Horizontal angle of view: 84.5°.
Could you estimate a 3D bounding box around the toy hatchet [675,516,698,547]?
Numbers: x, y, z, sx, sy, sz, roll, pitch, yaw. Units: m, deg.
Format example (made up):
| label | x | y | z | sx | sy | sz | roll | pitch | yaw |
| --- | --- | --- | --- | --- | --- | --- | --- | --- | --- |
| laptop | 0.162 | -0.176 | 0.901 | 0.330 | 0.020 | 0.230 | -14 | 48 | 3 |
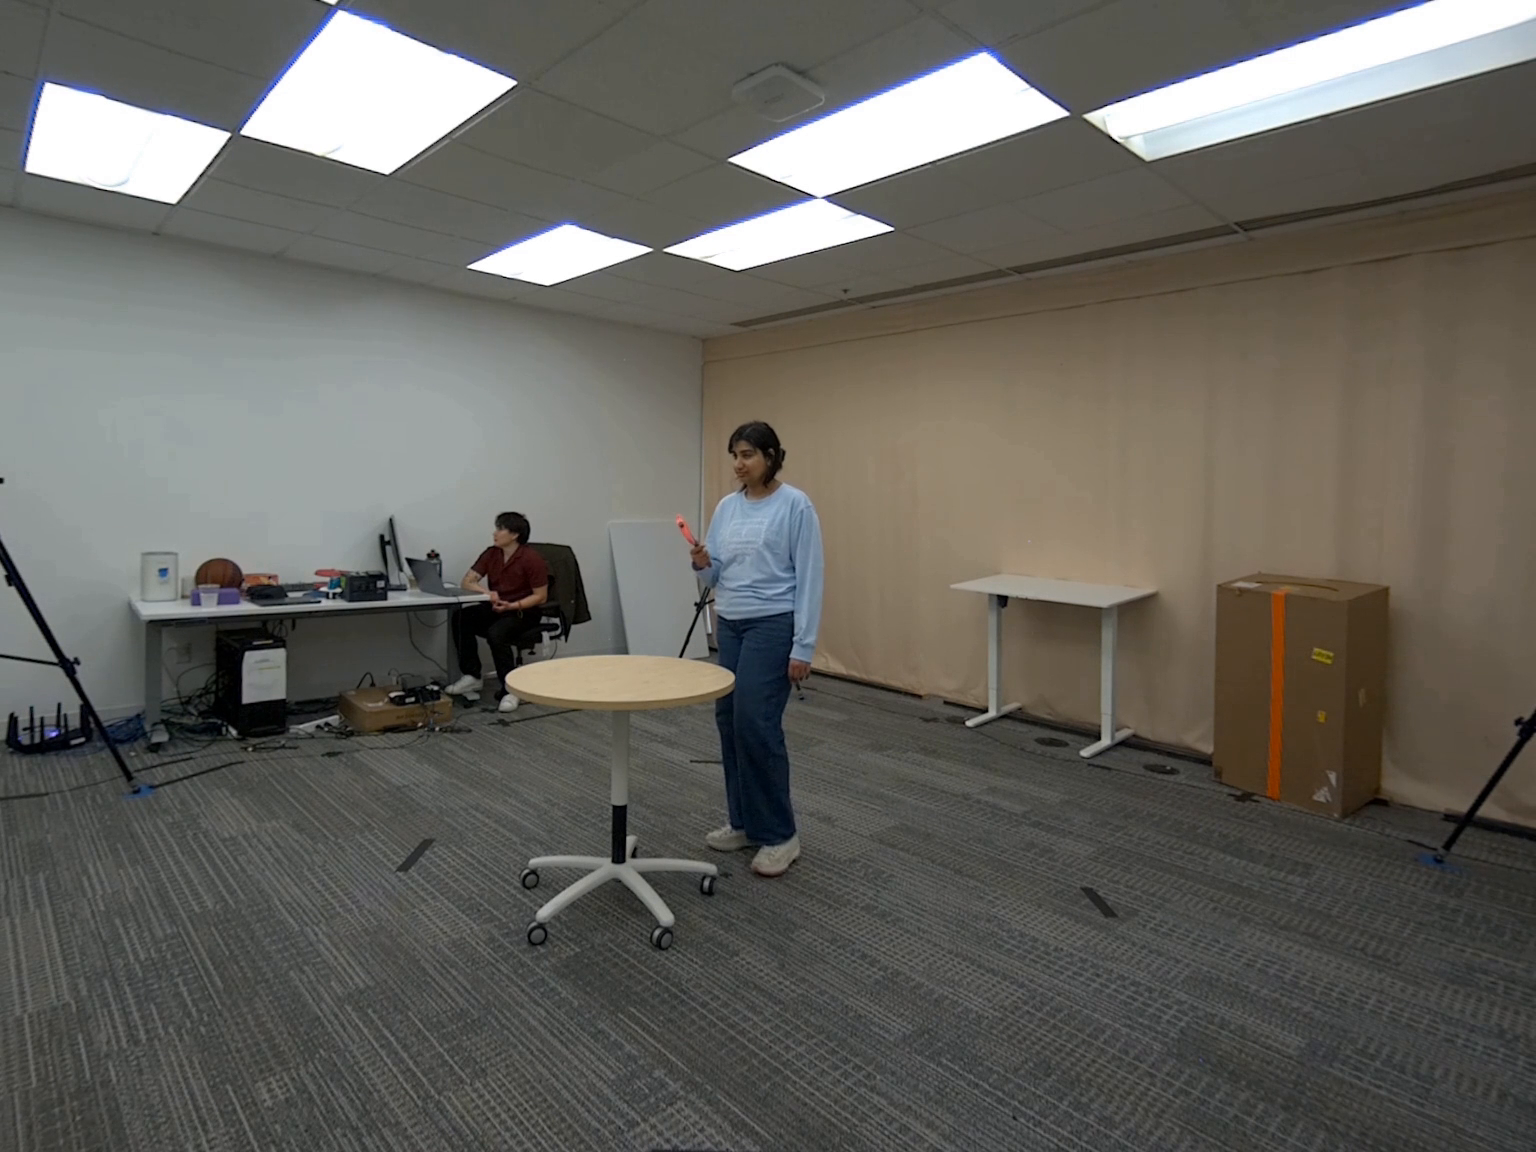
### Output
| label | x | y | z | sx | sy | sz | roll | pitch | yaw |
| --- | --- | --- | --- | --- | --- | --- | --- | --- | --- |
| toy hatchet | -0.284 | -0.111 | 3.144 | 0.029 | 0.262 | 0.135 | -31 | 36 | 3 |
